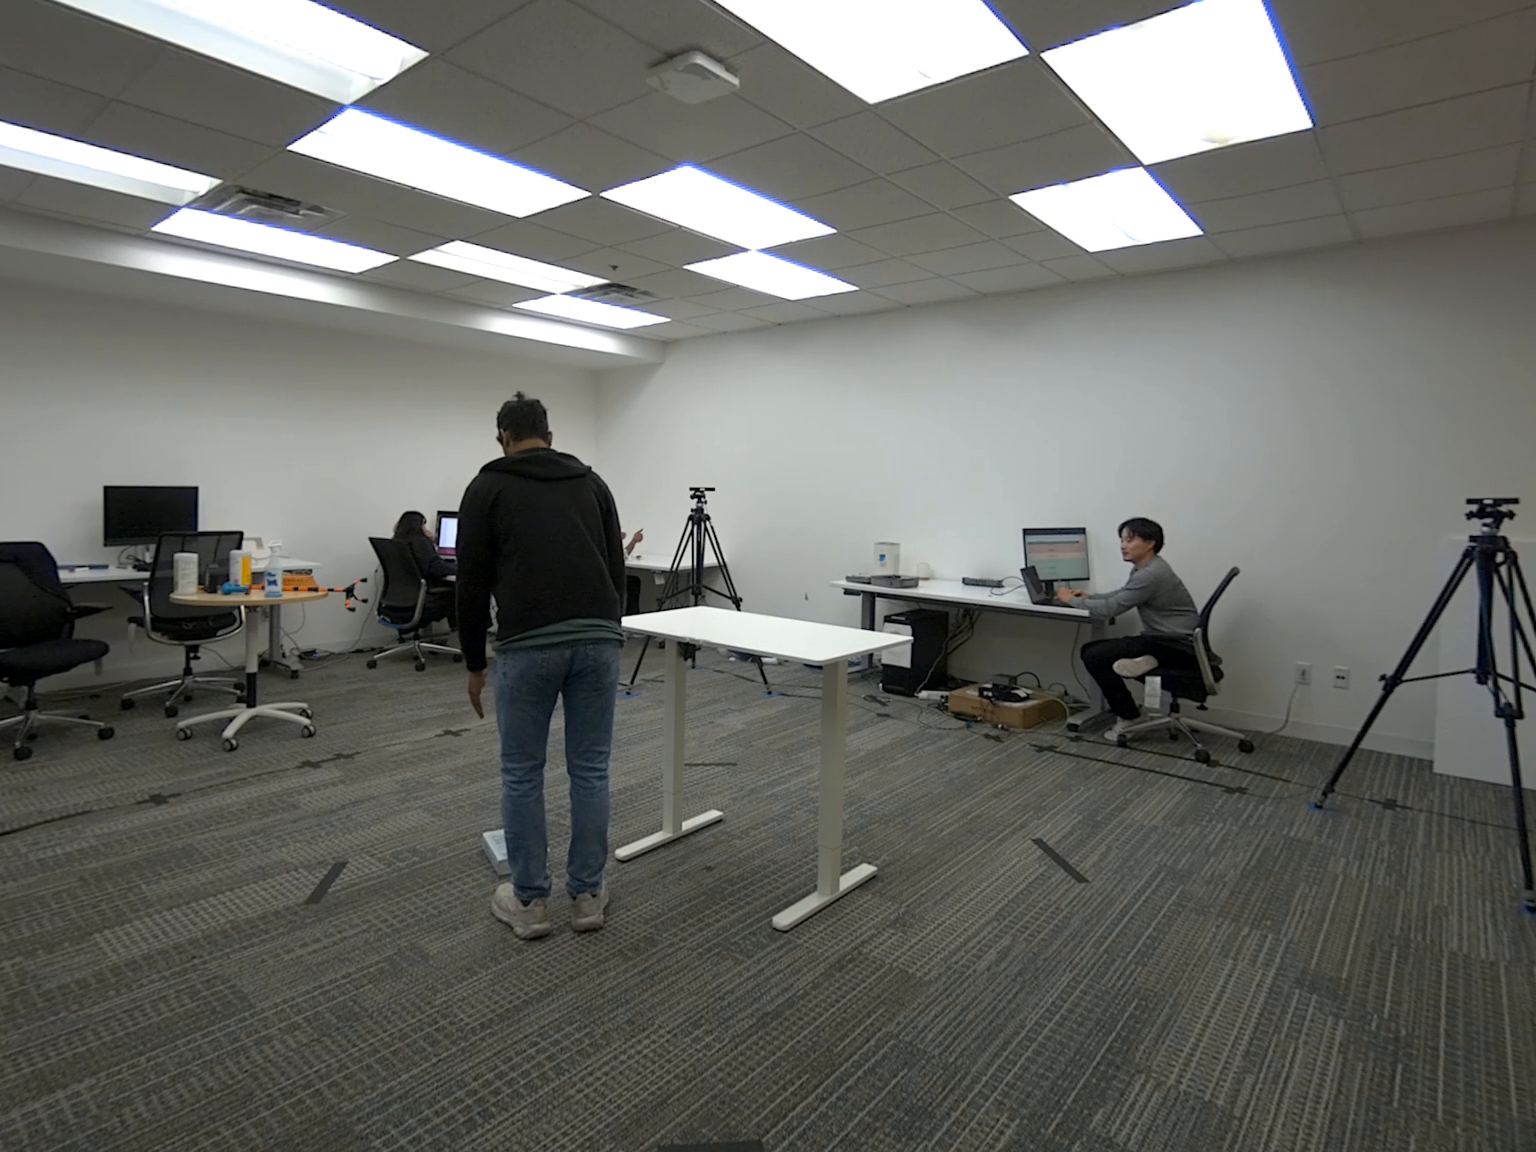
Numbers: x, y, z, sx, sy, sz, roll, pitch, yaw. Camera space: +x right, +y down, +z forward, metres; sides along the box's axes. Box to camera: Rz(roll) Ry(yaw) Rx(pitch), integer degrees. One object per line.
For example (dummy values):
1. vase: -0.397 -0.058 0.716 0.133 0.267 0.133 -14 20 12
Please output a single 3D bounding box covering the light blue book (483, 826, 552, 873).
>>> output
1. light blue book: -0.949 1.014 3.167 0.186 0.059 0.269 -2 6 -29
